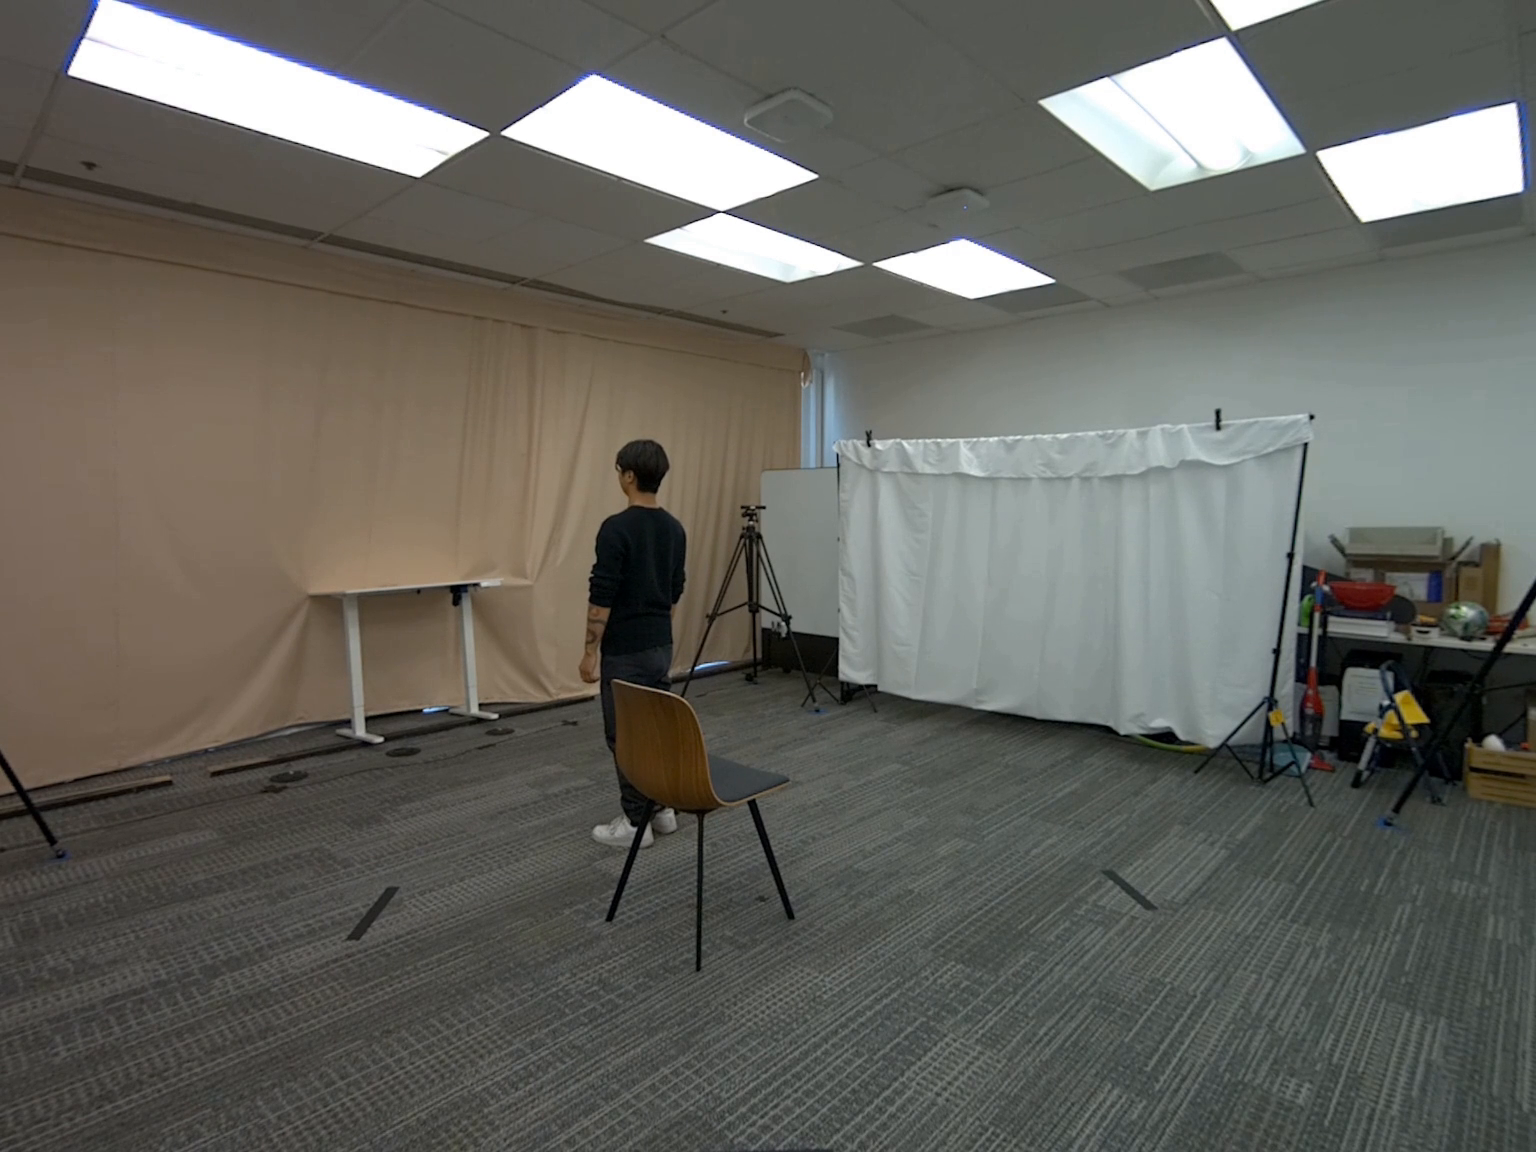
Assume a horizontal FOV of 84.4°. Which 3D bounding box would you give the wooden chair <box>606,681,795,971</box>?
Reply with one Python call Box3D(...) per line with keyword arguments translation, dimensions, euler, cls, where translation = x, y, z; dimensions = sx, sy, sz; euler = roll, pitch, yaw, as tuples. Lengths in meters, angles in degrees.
Box3D(translation=(-0.221, 0.734, 2.811), dimensions=(0.494, 0.874, 0.508), euler=(2, 8, 43), cls="wooden chair")
